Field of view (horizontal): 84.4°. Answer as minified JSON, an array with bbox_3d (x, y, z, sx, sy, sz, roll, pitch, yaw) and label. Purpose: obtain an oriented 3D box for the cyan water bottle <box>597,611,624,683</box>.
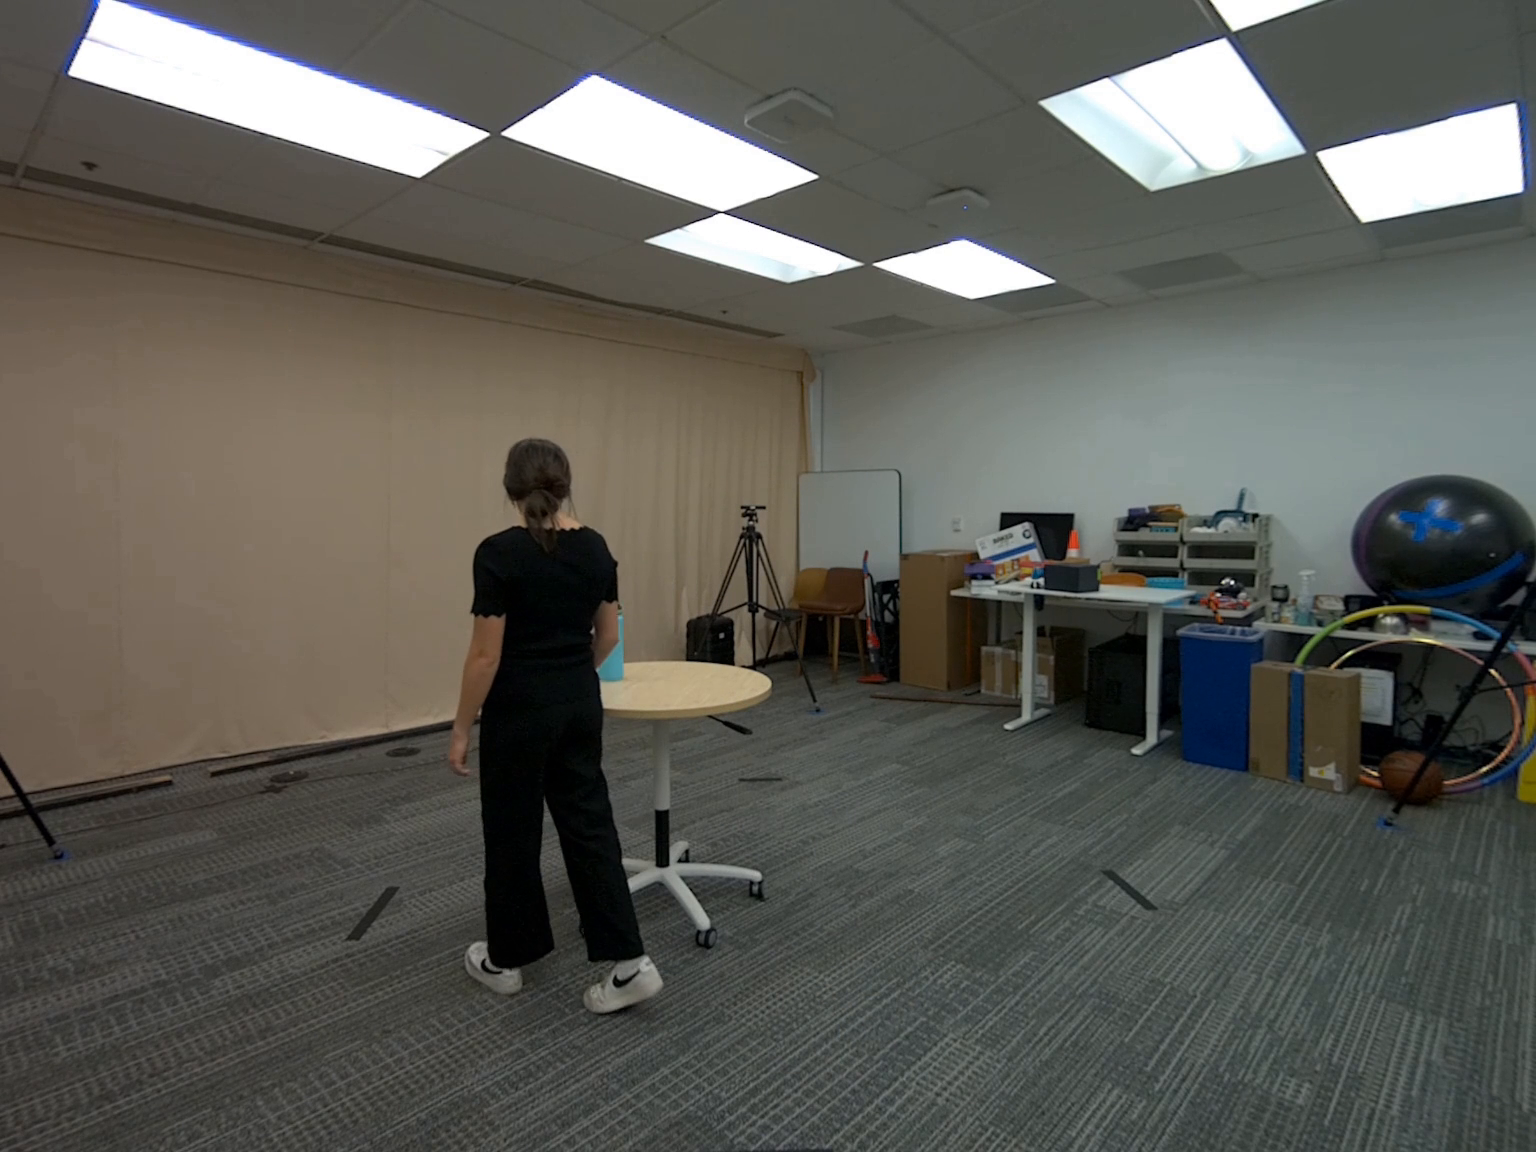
[{"bbox_3d":[-0.551,0.222,2.961,0.092,0.283,0.092,1,3,-2],"label":"cyan water bottle"}]
